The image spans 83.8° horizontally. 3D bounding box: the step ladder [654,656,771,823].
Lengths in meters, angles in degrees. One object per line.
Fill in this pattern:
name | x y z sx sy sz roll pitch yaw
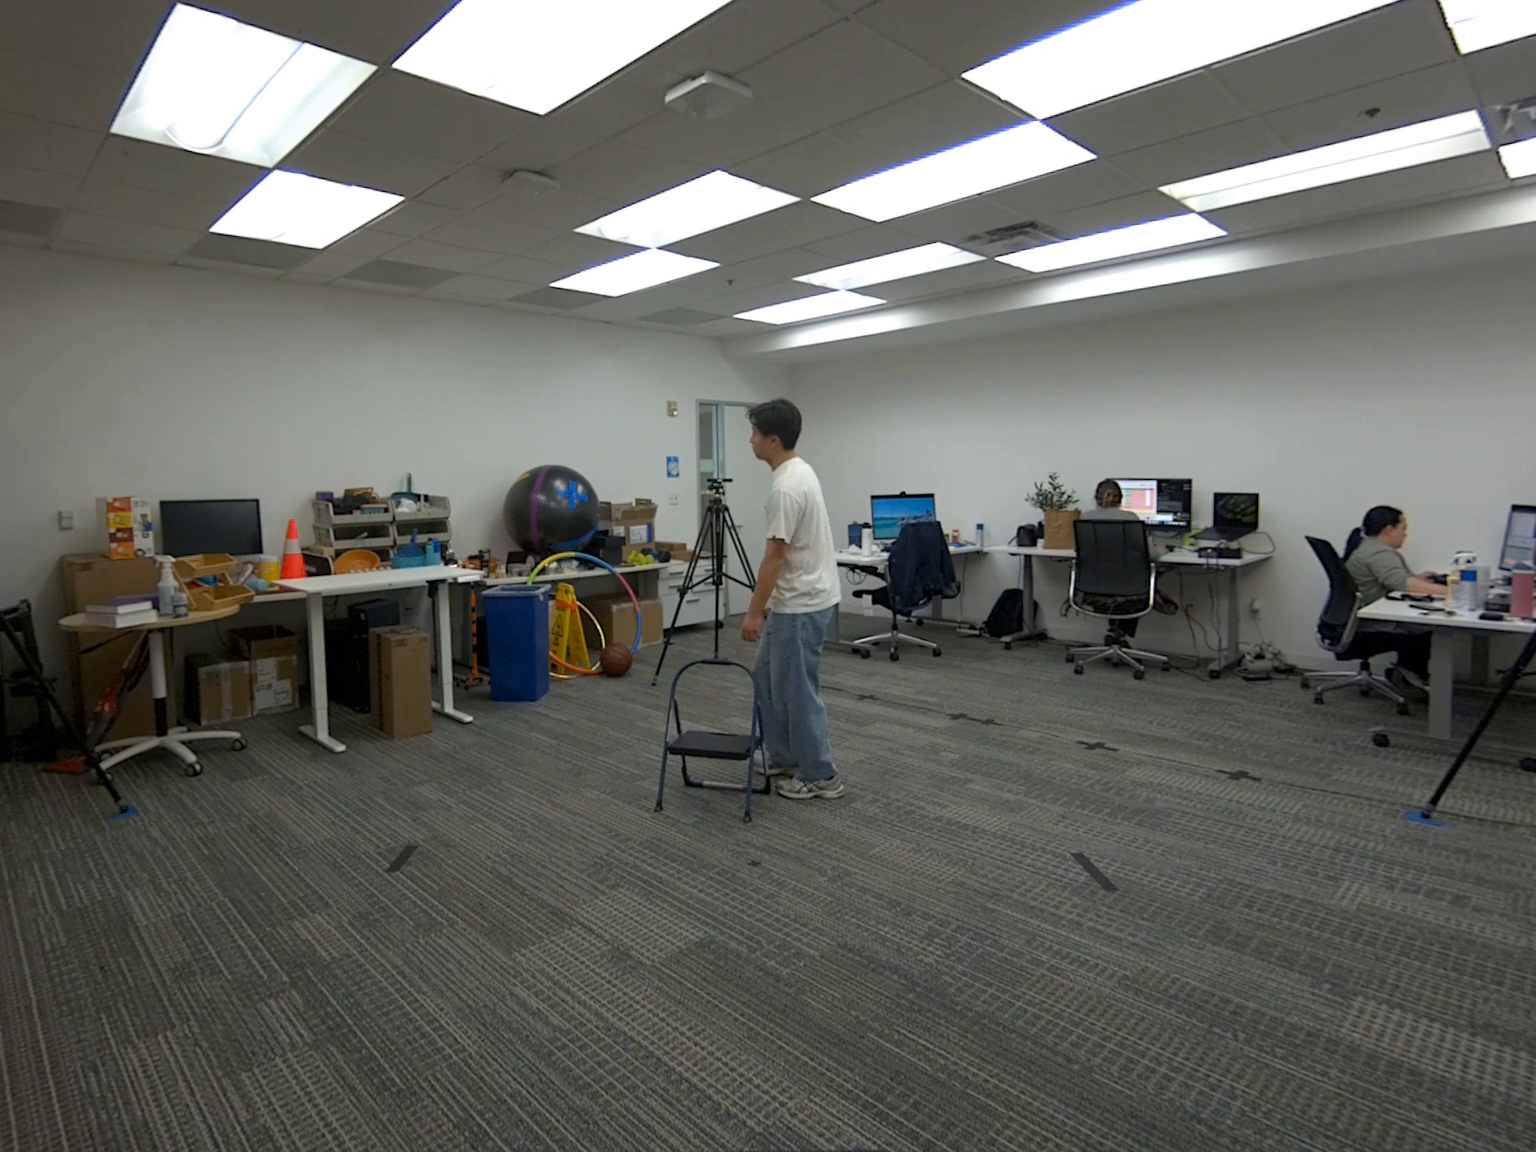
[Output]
step ladder | -0.237 0.683 3.692 0.438 0.604 0.344 0 4 18
